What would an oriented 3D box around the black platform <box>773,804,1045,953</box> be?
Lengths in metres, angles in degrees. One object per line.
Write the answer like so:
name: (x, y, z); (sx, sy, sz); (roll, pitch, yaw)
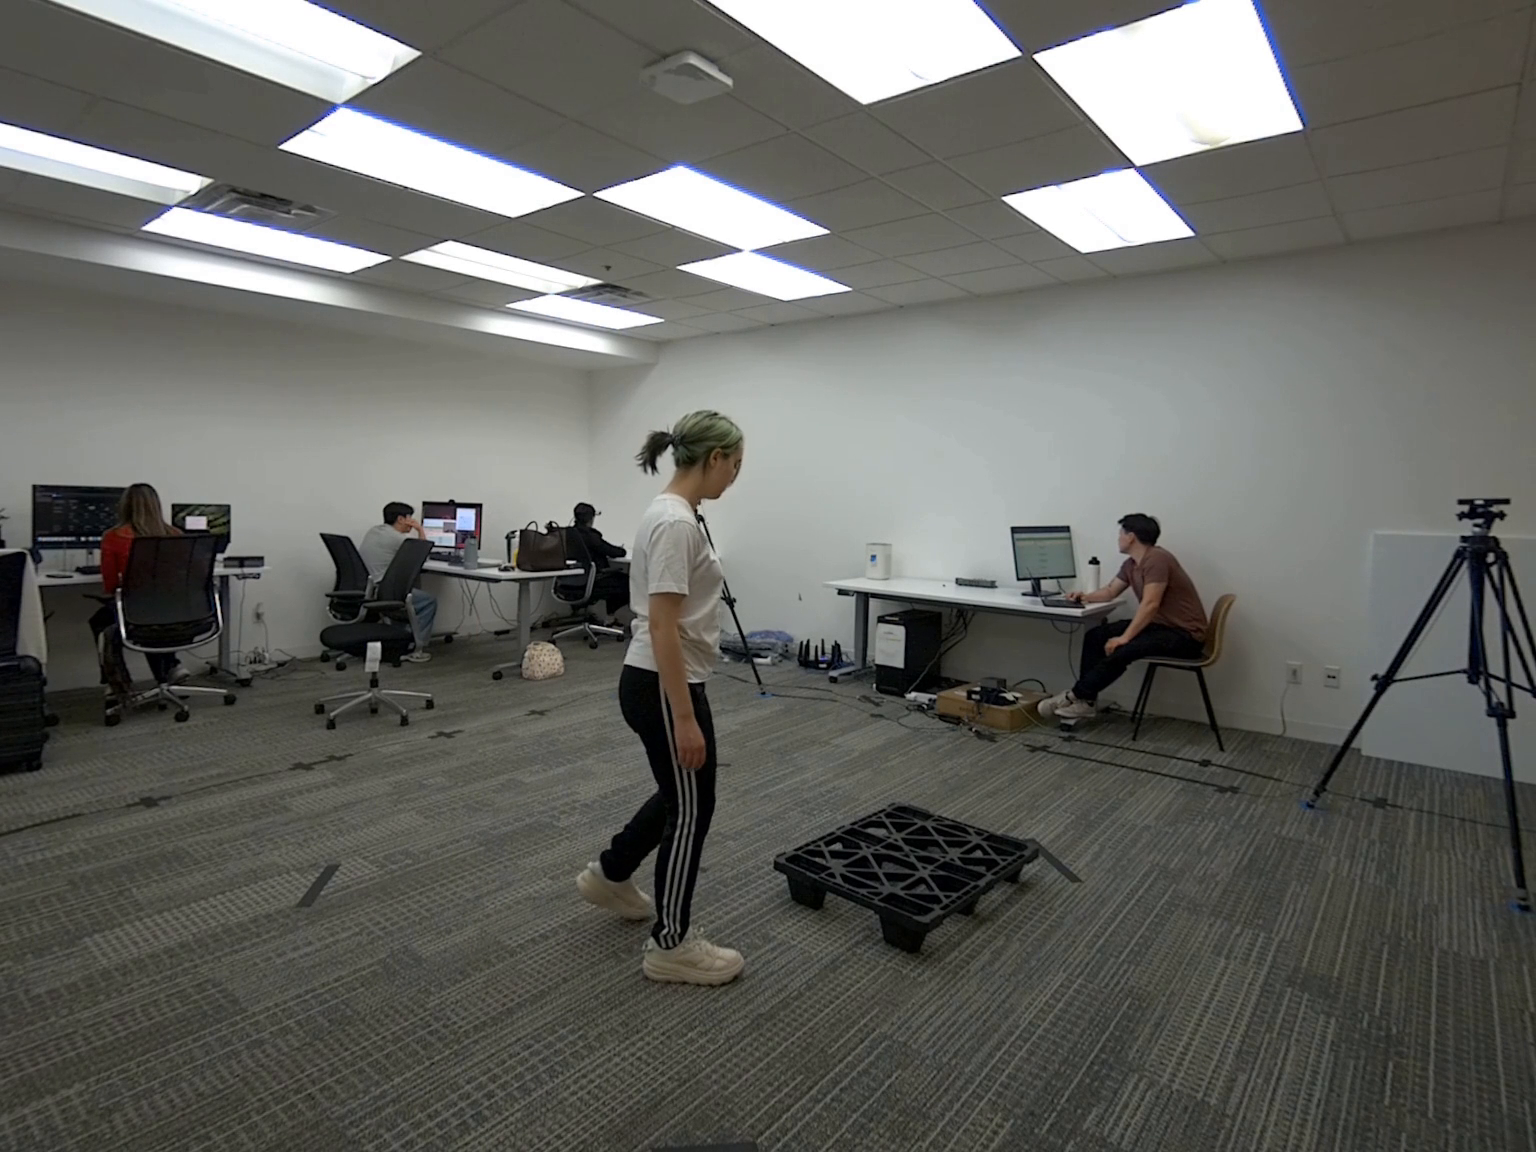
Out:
black platform: (0.484, 1.031, 2.987); (0.626, 0.143, 0.781); (6, 7, 42)
